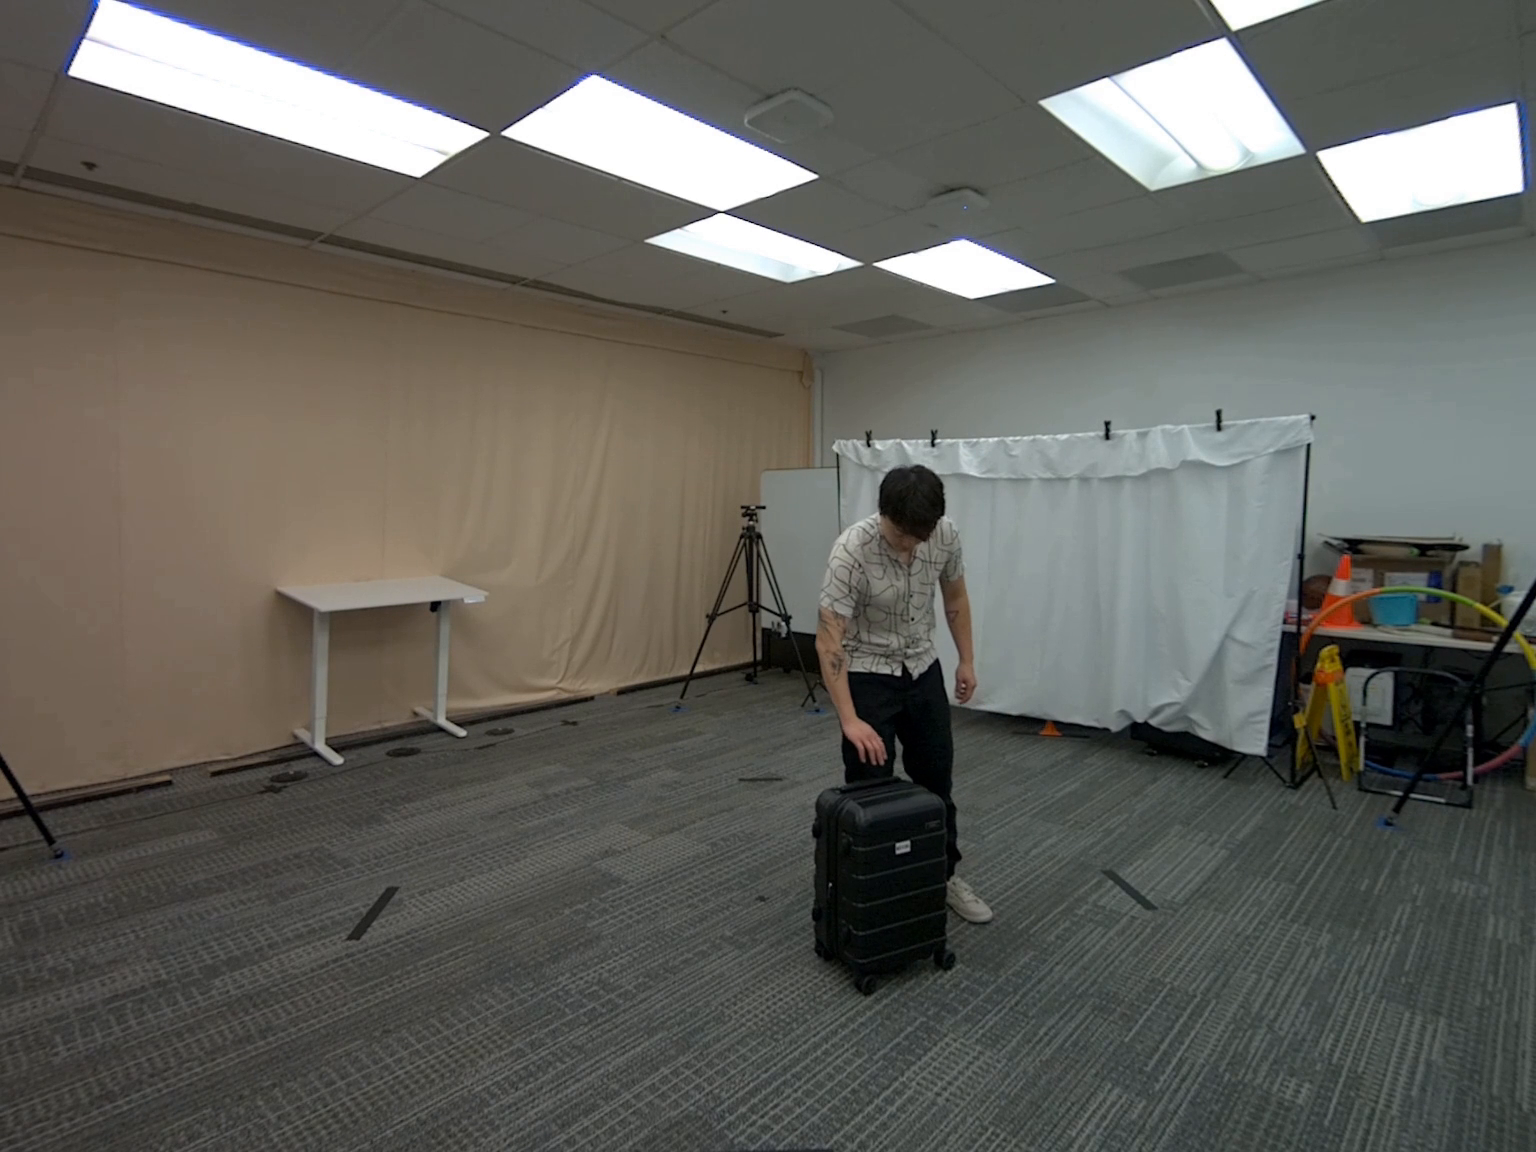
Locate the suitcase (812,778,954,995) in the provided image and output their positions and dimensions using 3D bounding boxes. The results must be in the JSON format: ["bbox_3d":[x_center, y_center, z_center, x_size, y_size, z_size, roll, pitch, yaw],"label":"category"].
[{"bbox_3d":[0.348,0.901,2.545,0.366,0.548,0.255,-2,3,-28],"label":"suitcase"}]
